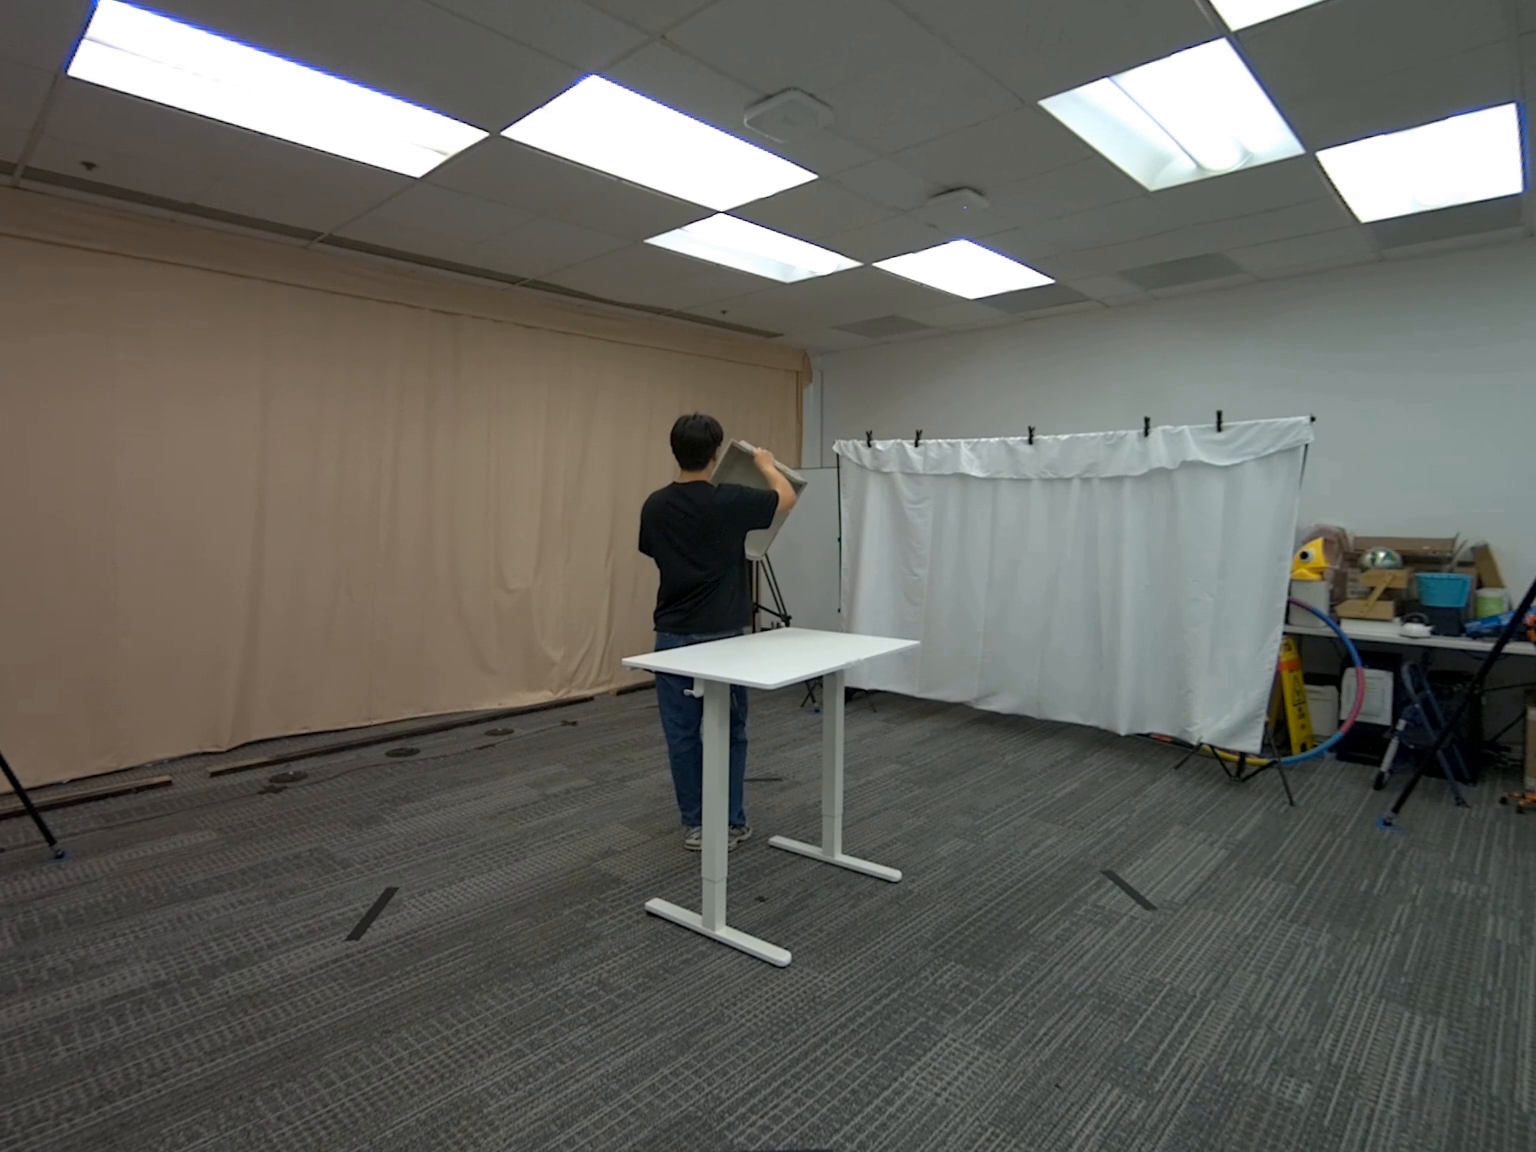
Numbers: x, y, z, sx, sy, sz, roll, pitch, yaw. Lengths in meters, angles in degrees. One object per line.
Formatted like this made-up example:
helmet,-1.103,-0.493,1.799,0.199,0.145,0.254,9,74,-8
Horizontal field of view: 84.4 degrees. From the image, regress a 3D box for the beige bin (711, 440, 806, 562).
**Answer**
beige bin,-0.087,-0.339,3.795,0.382,0.422,0.186,34,16,9
